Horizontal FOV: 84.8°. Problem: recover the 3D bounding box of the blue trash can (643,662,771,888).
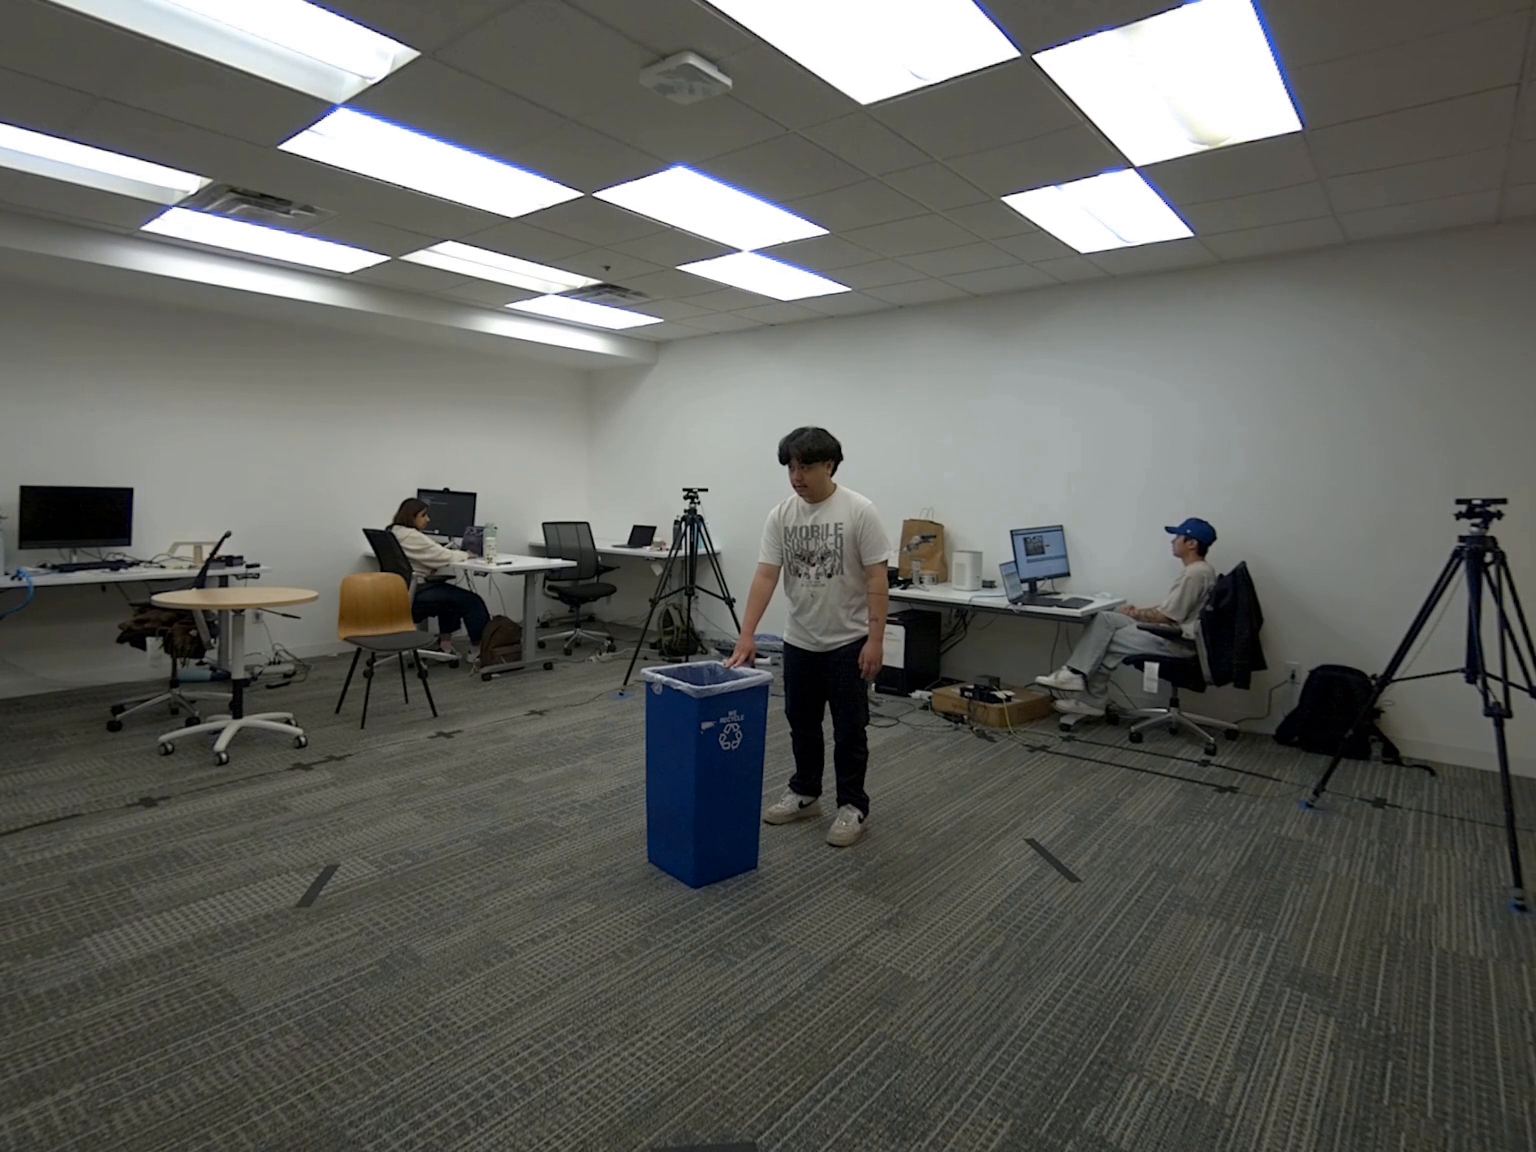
[{"bbox_3d":[-0.240,0.708,3.144,0.363,0.711,0.391,-2,4,-41],"label":"blue trash can"}]
